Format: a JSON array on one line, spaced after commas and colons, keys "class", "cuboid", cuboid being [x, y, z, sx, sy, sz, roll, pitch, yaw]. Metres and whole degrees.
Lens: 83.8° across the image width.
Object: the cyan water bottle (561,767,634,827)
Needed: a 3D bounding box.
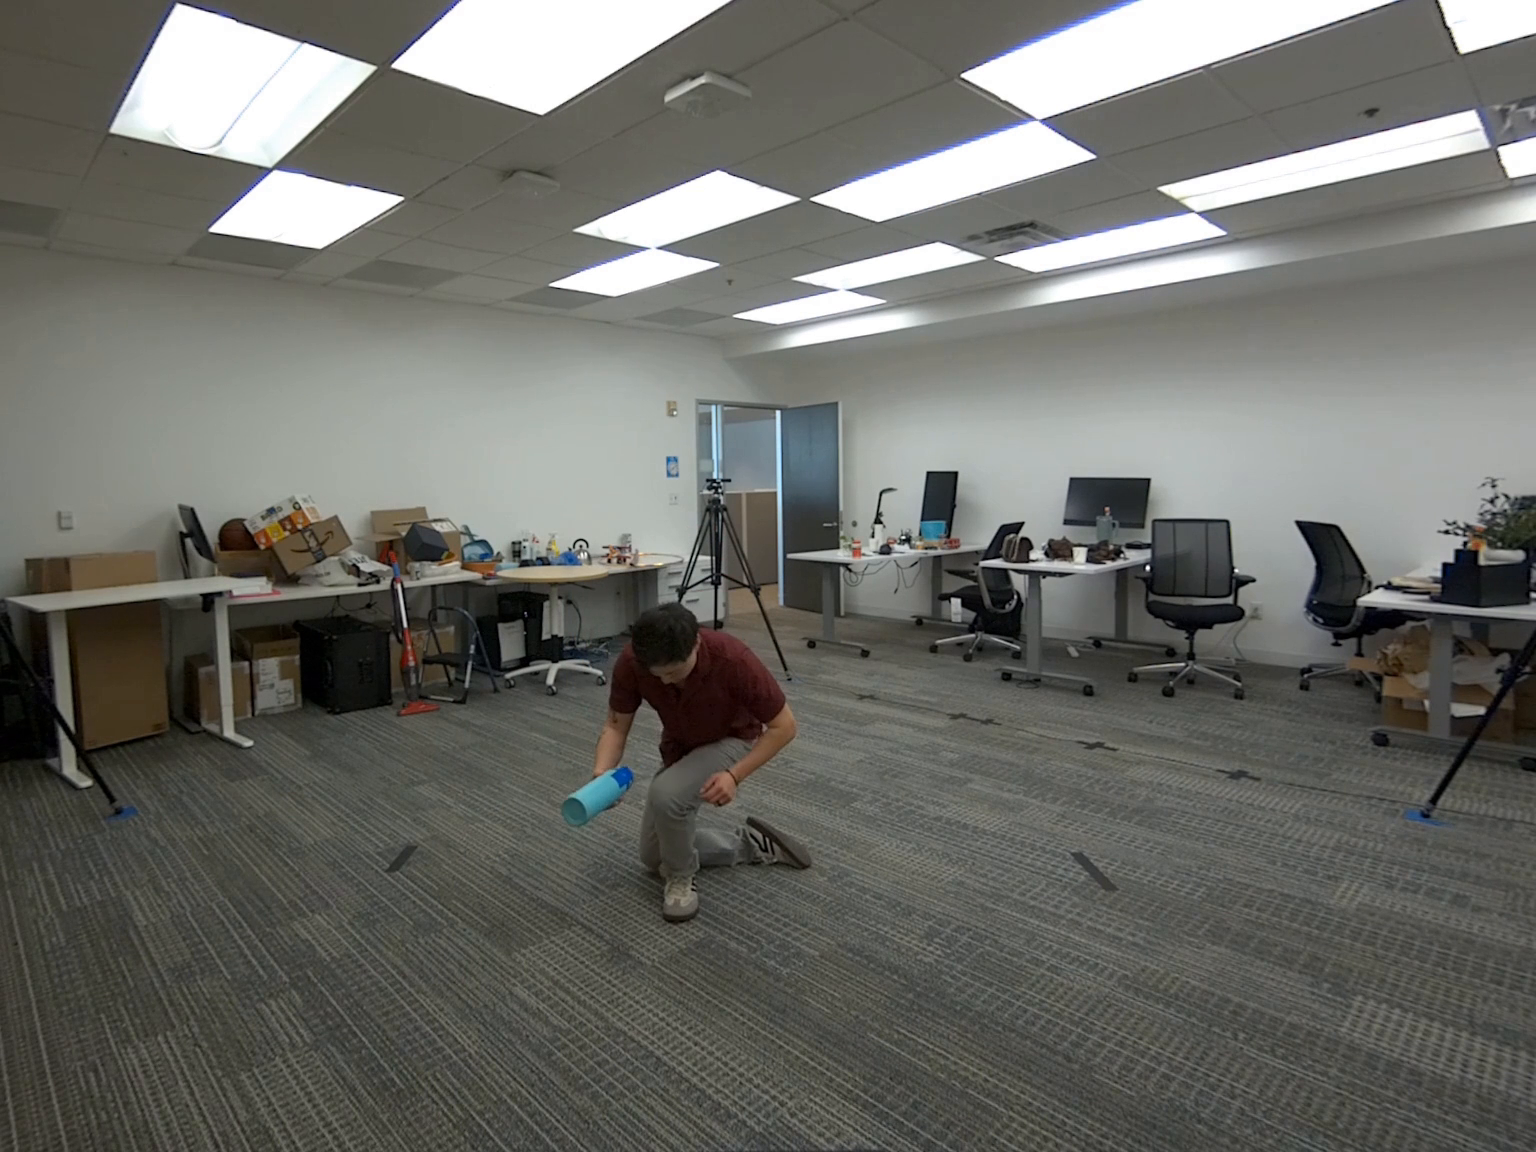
[{"class": "cyan water bottle", "cuboid": [-0.488, 0.641, 2.504, 0.094, 0.091, 0.280, 1, 9, 20]}]
